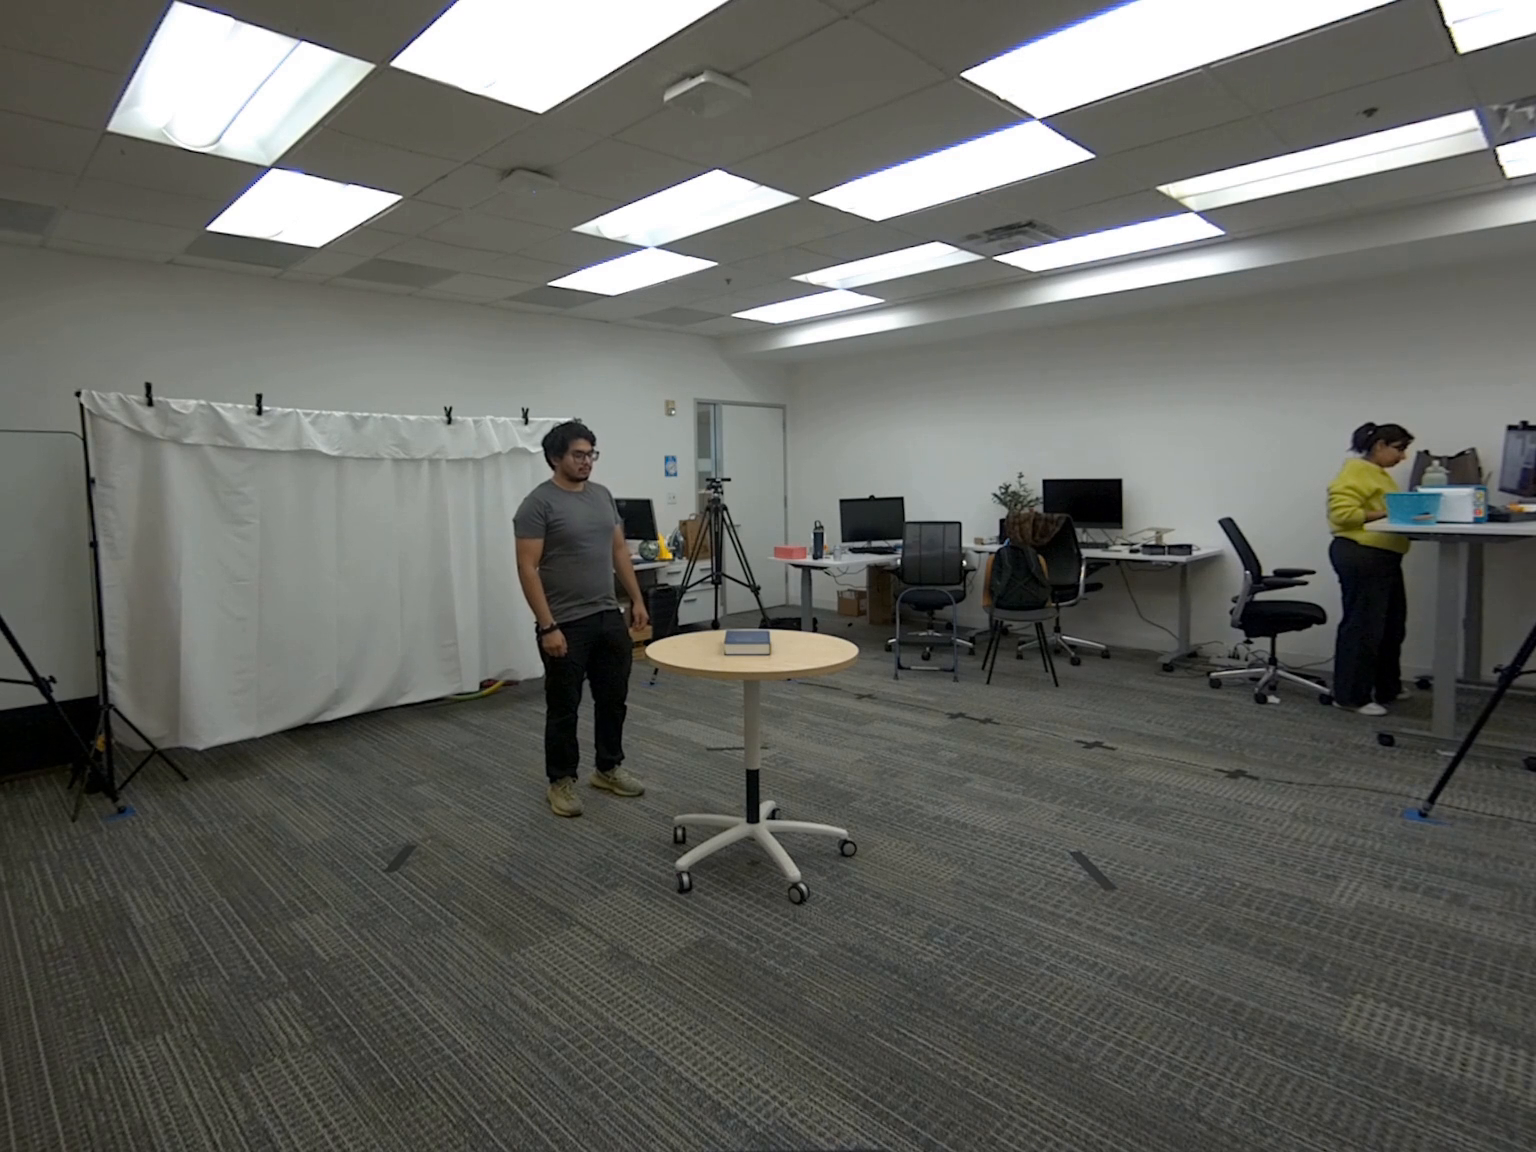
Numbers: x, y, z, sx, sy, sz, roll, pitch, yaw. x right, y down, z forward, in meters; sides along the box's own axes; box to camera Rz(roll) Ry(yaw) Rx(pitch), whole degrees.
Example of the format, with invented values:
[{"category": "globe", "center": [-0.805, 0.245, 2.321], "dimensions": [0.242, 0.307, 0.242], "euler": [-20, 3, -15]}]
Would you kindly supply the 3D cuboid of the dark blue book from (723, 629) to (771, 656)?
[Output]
[{"category": "dark blue book", "center": [-0.065, 0.243, 3.080], "dimensions": [0.163, 0.045, 0.246], "euler": [-1, 6, 0]}]
